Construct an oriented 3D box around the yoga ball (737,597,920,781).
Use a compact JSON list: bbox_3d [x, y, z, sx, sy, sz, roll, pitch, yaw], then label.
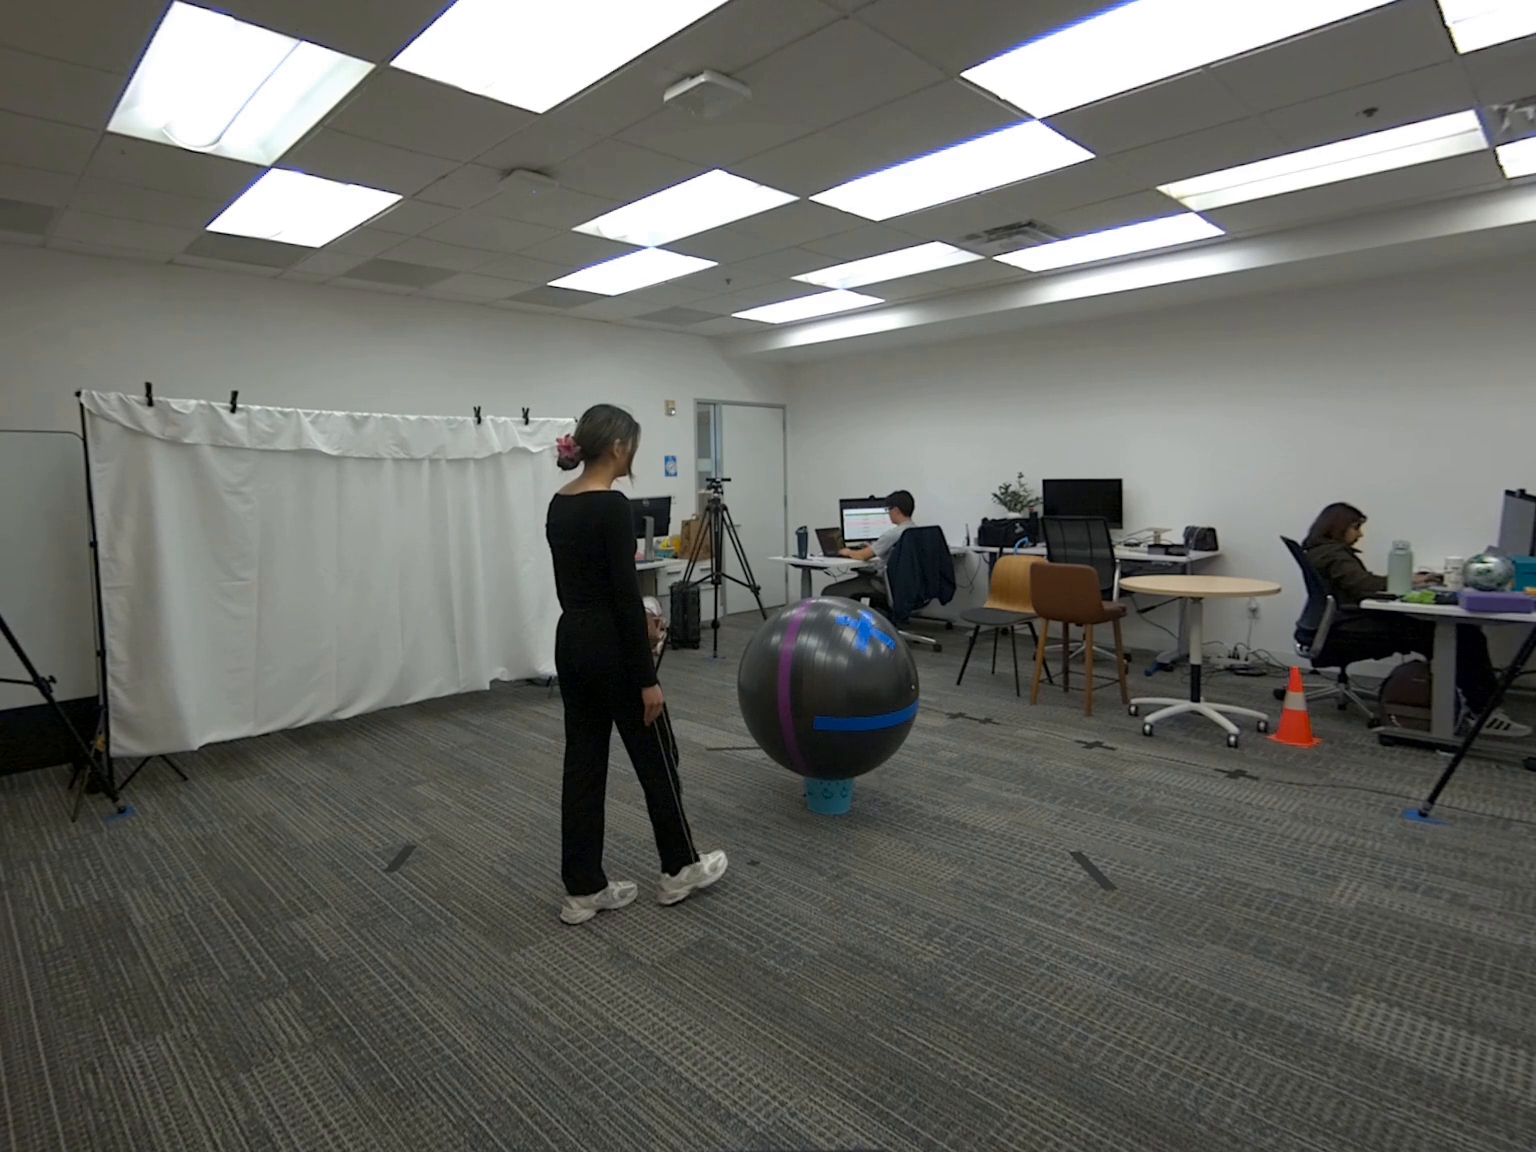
[{"bbox_3d":[0.247,0.466,3.602,0.757,0.755,0.762,-1,5,-2],"label":"yoga ball"}]
